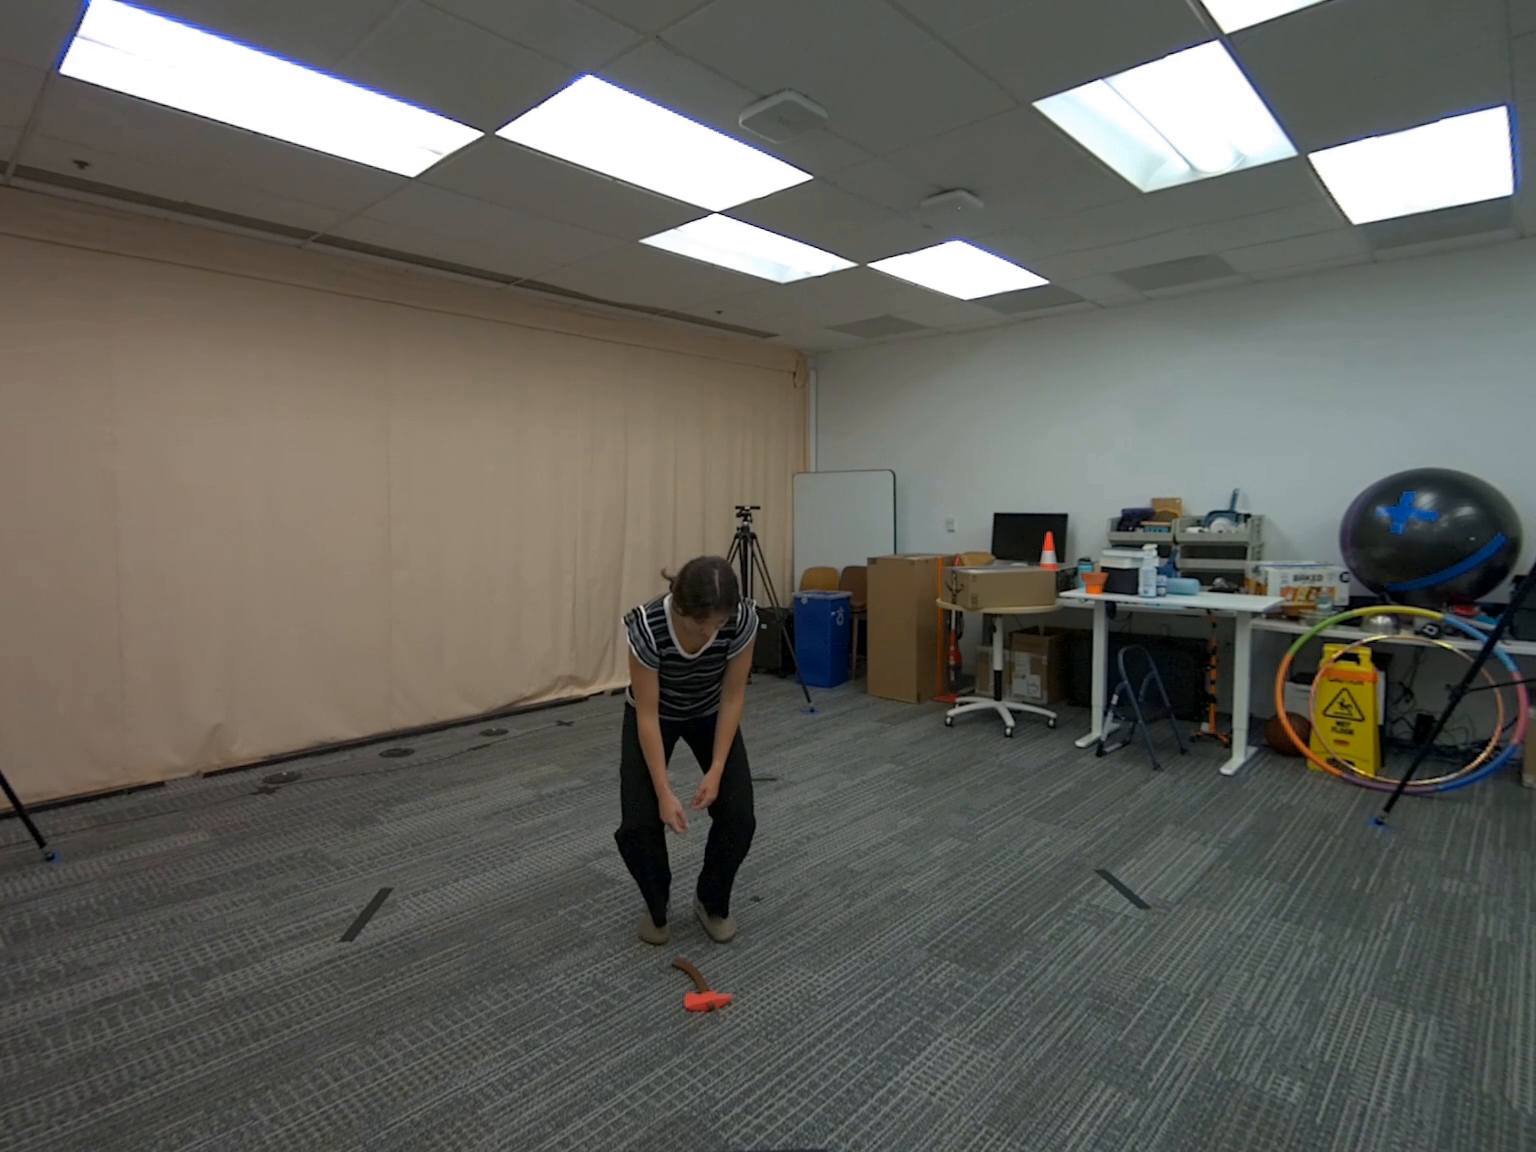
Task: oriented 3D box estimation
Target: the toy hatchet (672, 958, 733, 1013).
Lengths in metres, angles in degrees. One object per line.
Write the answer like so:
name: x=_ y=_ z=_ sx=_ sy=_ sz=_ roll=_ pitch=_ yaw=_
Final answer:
toy hatchet: x=-0.227 y=1.170 z=2.430 sx=0.127 sy=0.029 sz=0.278 roll=-6 pitch=5 yaw=-36
